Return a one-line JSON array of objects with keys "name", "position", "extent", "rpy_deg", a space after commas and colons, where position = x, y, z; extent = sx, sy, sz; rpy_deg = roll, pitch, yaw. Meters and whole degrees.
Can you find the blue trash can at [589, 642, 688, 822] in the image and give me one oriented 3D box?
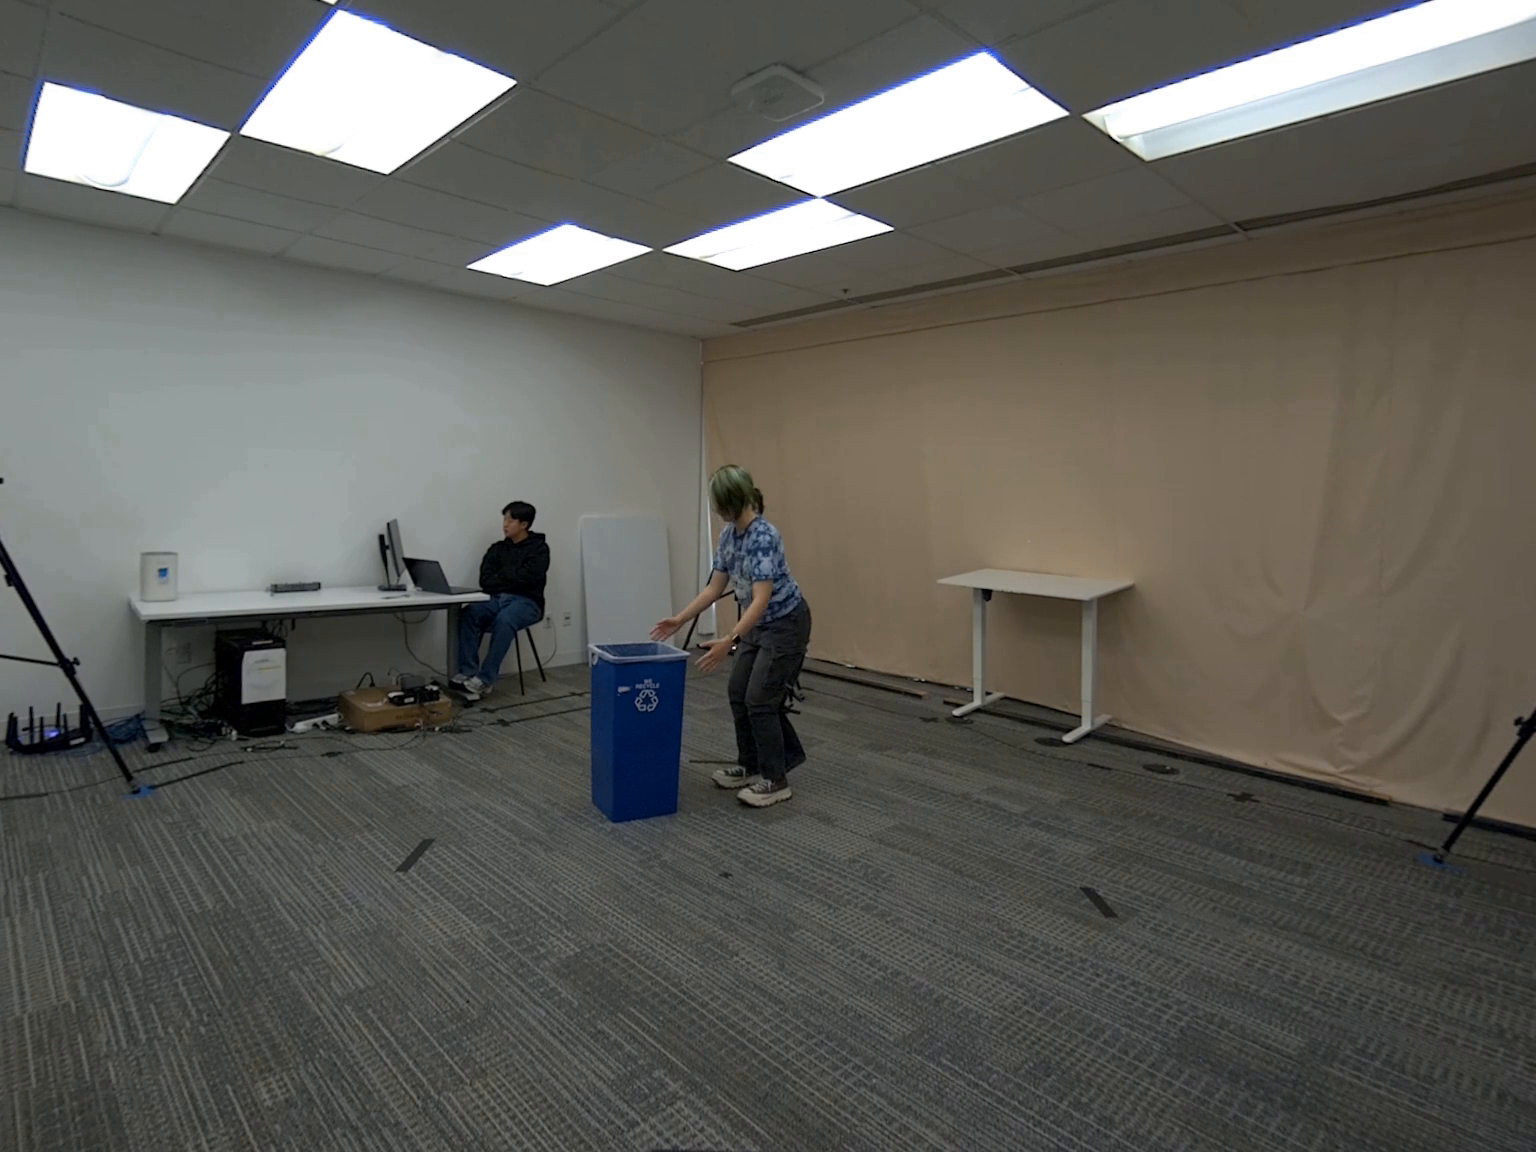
[{"name": "blue trash can", "position": [-0.596, 0.680, 3.761], "extent": [0.366, 0.712, 0.387], "rpy_deg": [0, 4, -30]}]
